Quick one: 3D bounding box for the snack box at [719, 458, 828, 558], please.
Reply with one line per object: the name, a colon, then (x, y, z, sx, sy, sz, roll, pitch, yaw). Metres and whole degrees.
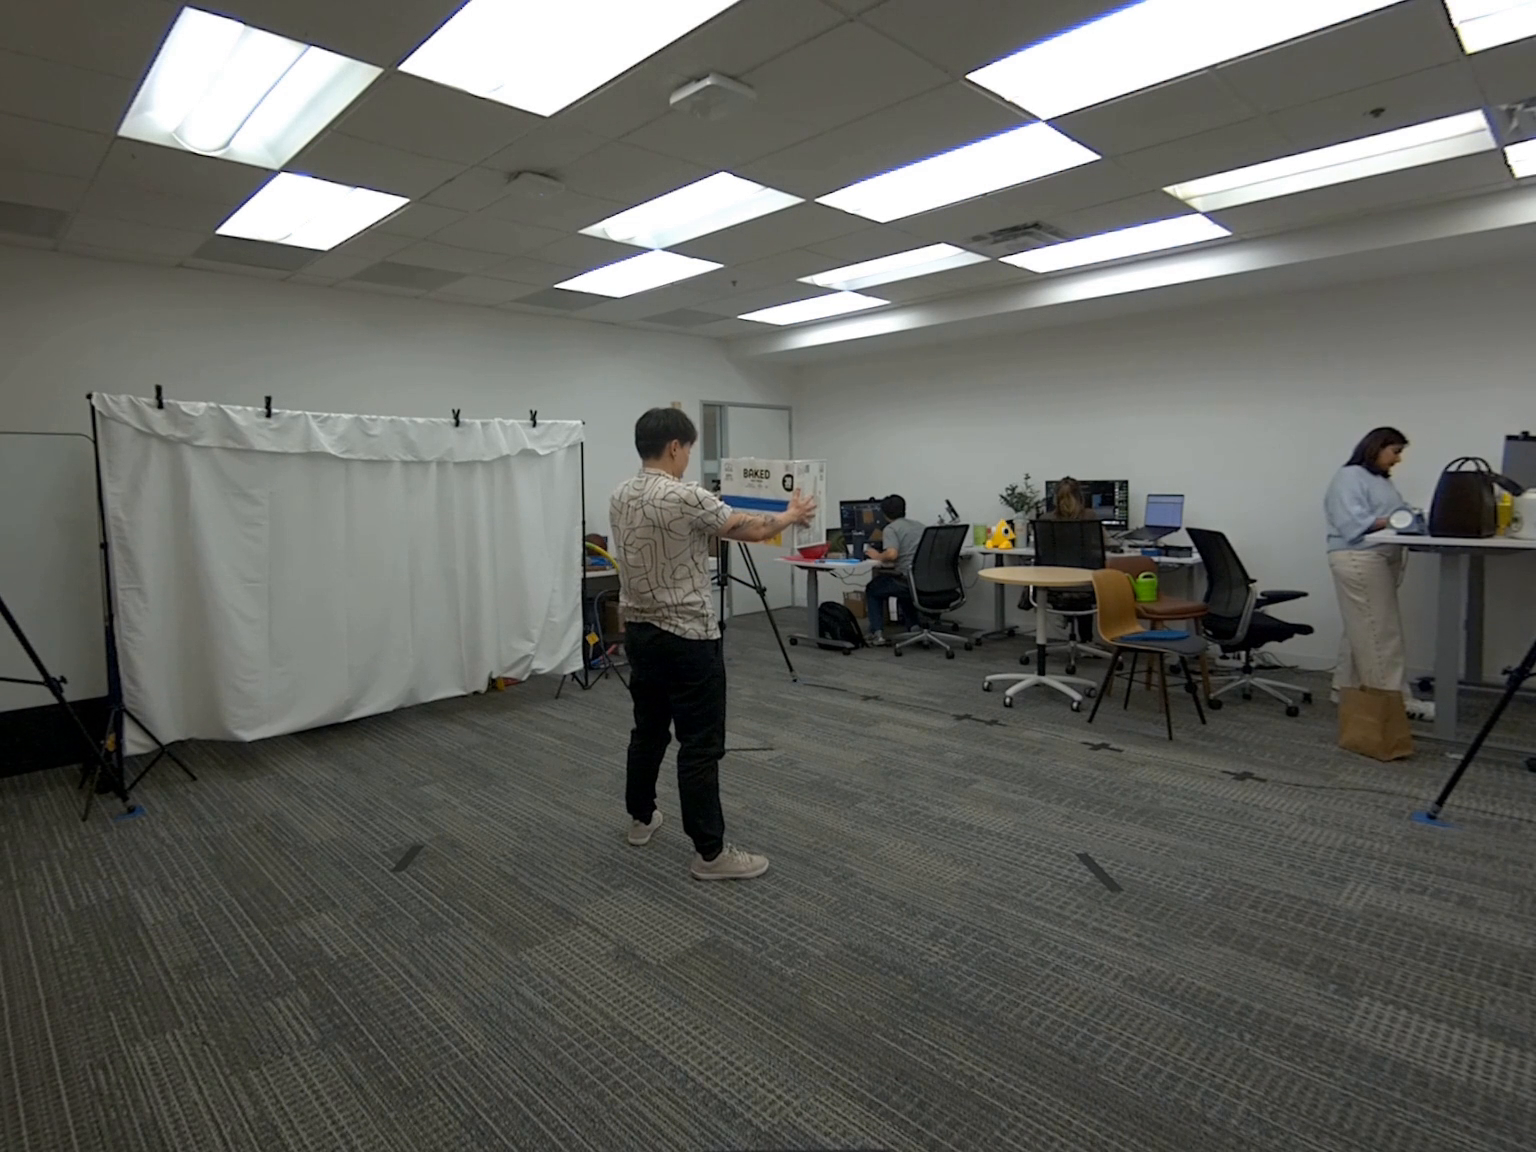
snack box: (0.019, -0.308, 3.493, 0.418, 0.338, 0.200, 9, 12, 43)
